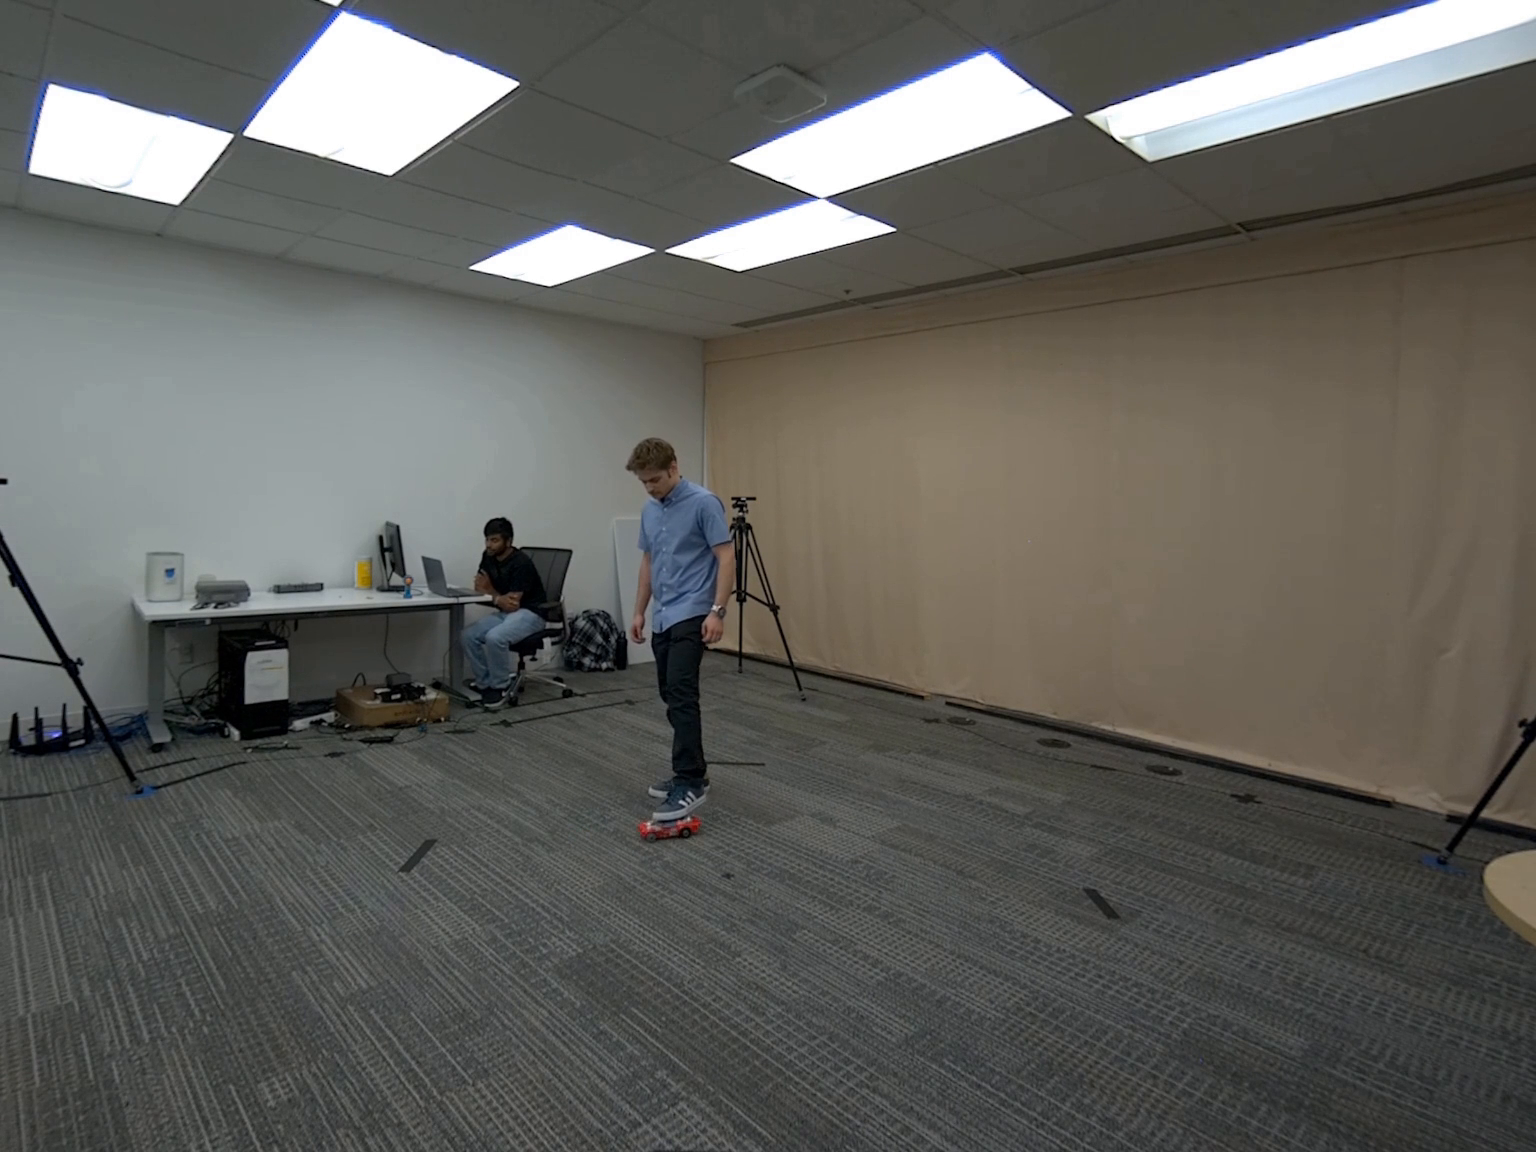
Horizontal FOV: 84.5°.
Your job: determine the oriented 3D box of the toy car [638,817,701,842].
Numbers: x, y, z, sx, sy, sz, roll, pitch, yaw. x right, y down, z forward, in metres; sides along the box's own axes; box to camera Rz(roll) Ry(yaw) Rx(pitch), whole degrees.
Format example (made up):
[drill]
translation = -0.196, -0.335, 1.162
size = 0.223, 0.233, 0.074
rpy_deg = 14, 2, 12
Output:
[toy car]
translation = -0.417, 1.041, 3.471
size = 0.251, 0.083, 0.132
rpy_deg = -11, 6, -19
